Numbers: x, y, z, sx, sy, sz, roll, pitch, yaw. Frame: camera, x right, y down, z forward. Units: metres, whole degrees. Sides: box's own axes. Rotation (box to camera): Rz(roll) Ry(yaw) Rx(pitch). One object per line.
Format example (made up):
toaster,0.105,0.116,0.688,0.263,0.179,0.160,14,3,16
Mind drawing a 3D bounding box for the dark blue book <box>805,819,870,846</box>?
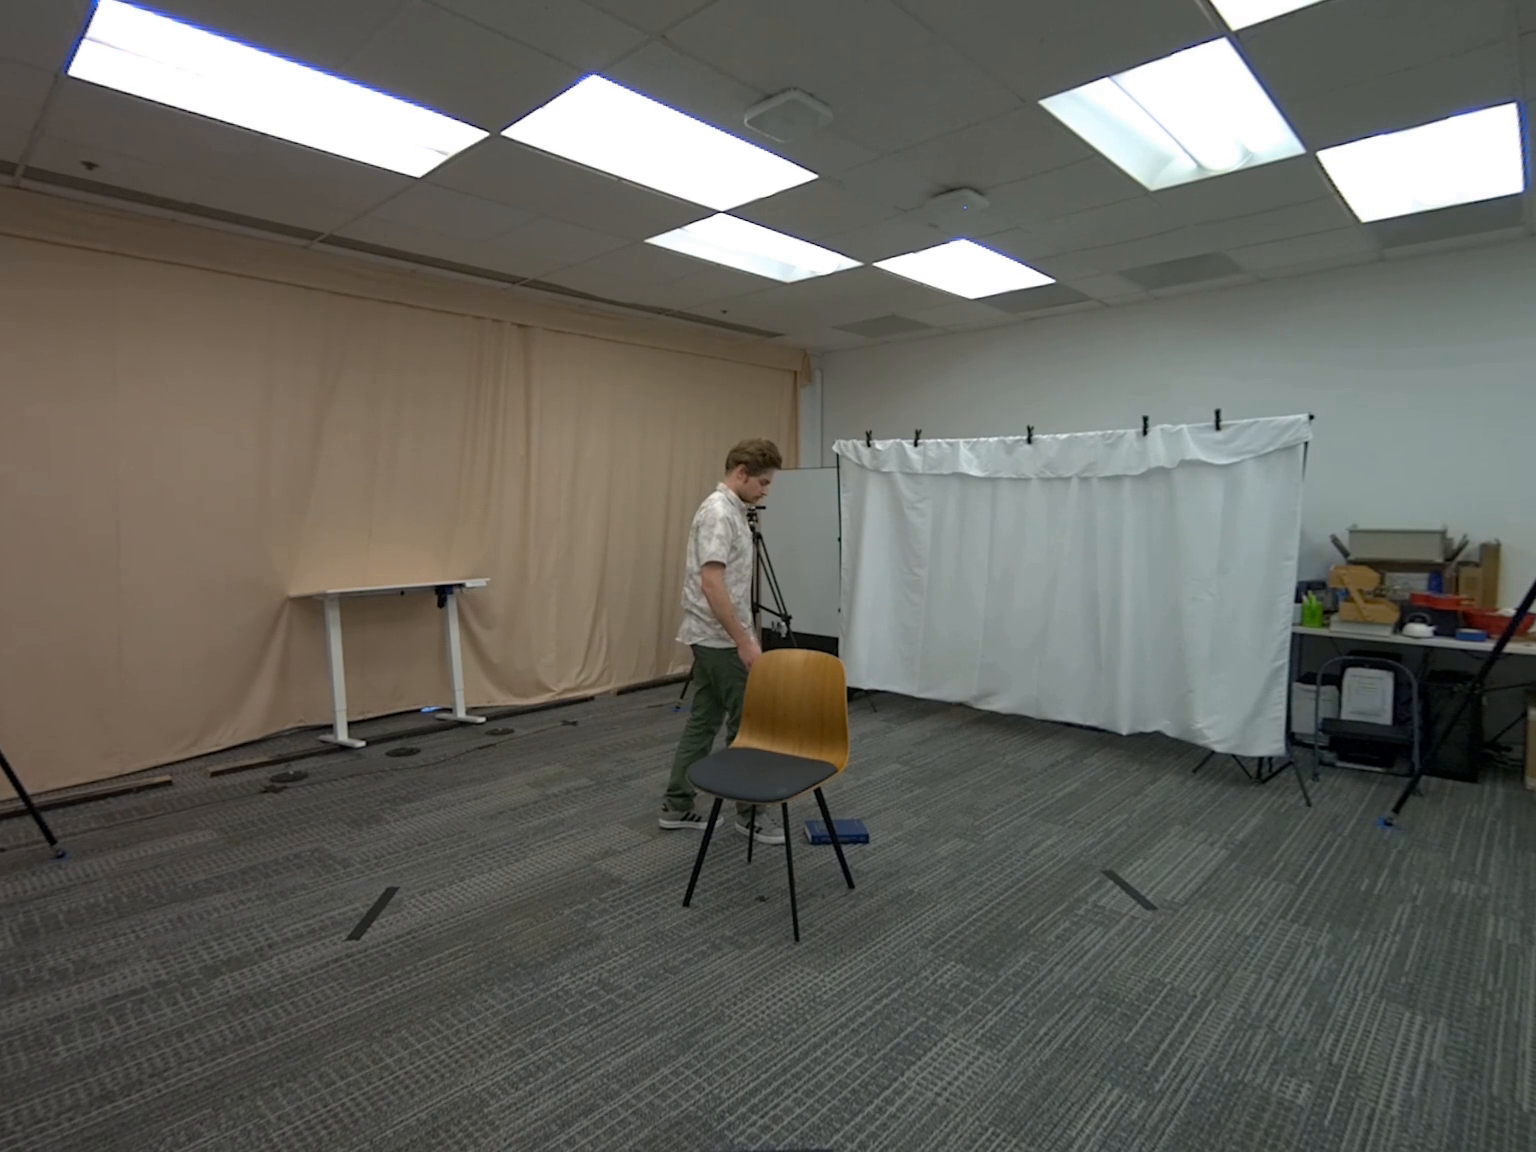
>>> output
dark blue book,0.289,1.074,3.536,0.244,0.045,0.165,-1,4,-6
